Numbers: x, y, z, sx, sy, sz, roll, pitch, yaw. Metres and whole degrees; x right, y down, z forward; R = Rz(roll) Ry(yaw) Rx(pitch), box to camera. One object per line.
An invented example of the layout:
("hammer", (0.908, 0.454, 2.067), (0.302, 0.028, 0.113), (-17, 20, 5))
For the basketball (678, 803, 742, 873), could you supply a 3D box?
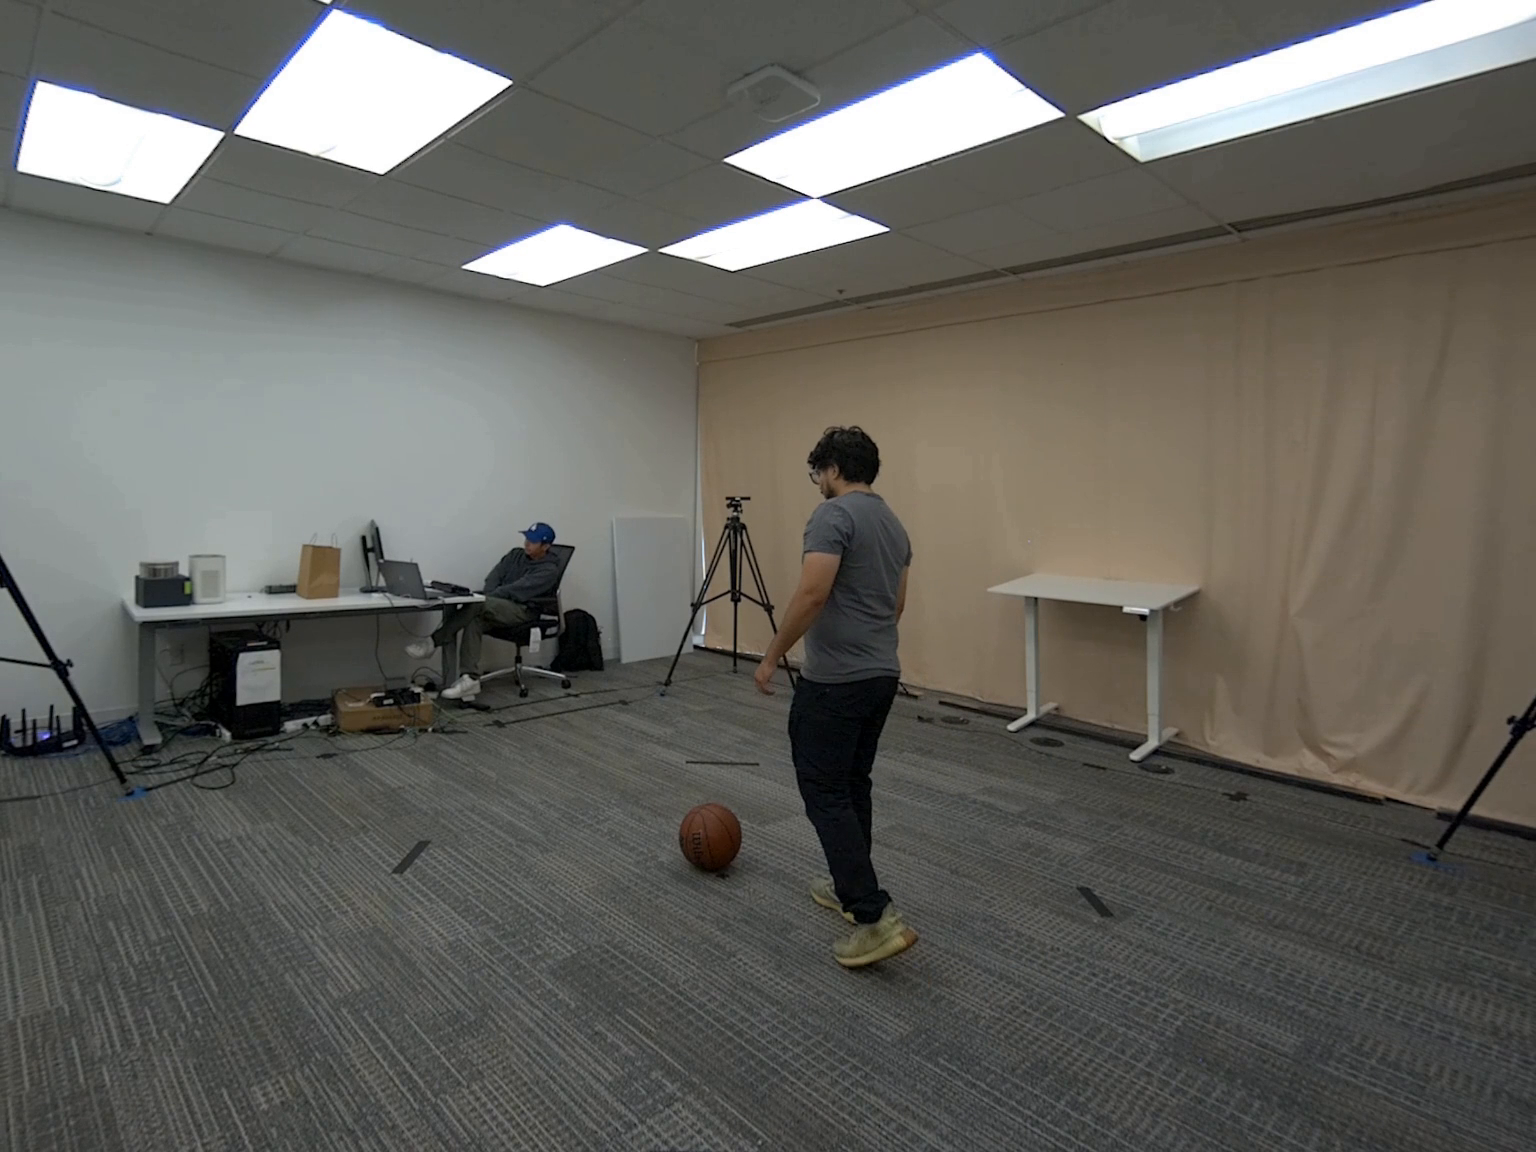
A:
("basketball", (-0.220, 0.975, 3.165), (0.236, 0.235, 0.237), (1, 4, -1))
